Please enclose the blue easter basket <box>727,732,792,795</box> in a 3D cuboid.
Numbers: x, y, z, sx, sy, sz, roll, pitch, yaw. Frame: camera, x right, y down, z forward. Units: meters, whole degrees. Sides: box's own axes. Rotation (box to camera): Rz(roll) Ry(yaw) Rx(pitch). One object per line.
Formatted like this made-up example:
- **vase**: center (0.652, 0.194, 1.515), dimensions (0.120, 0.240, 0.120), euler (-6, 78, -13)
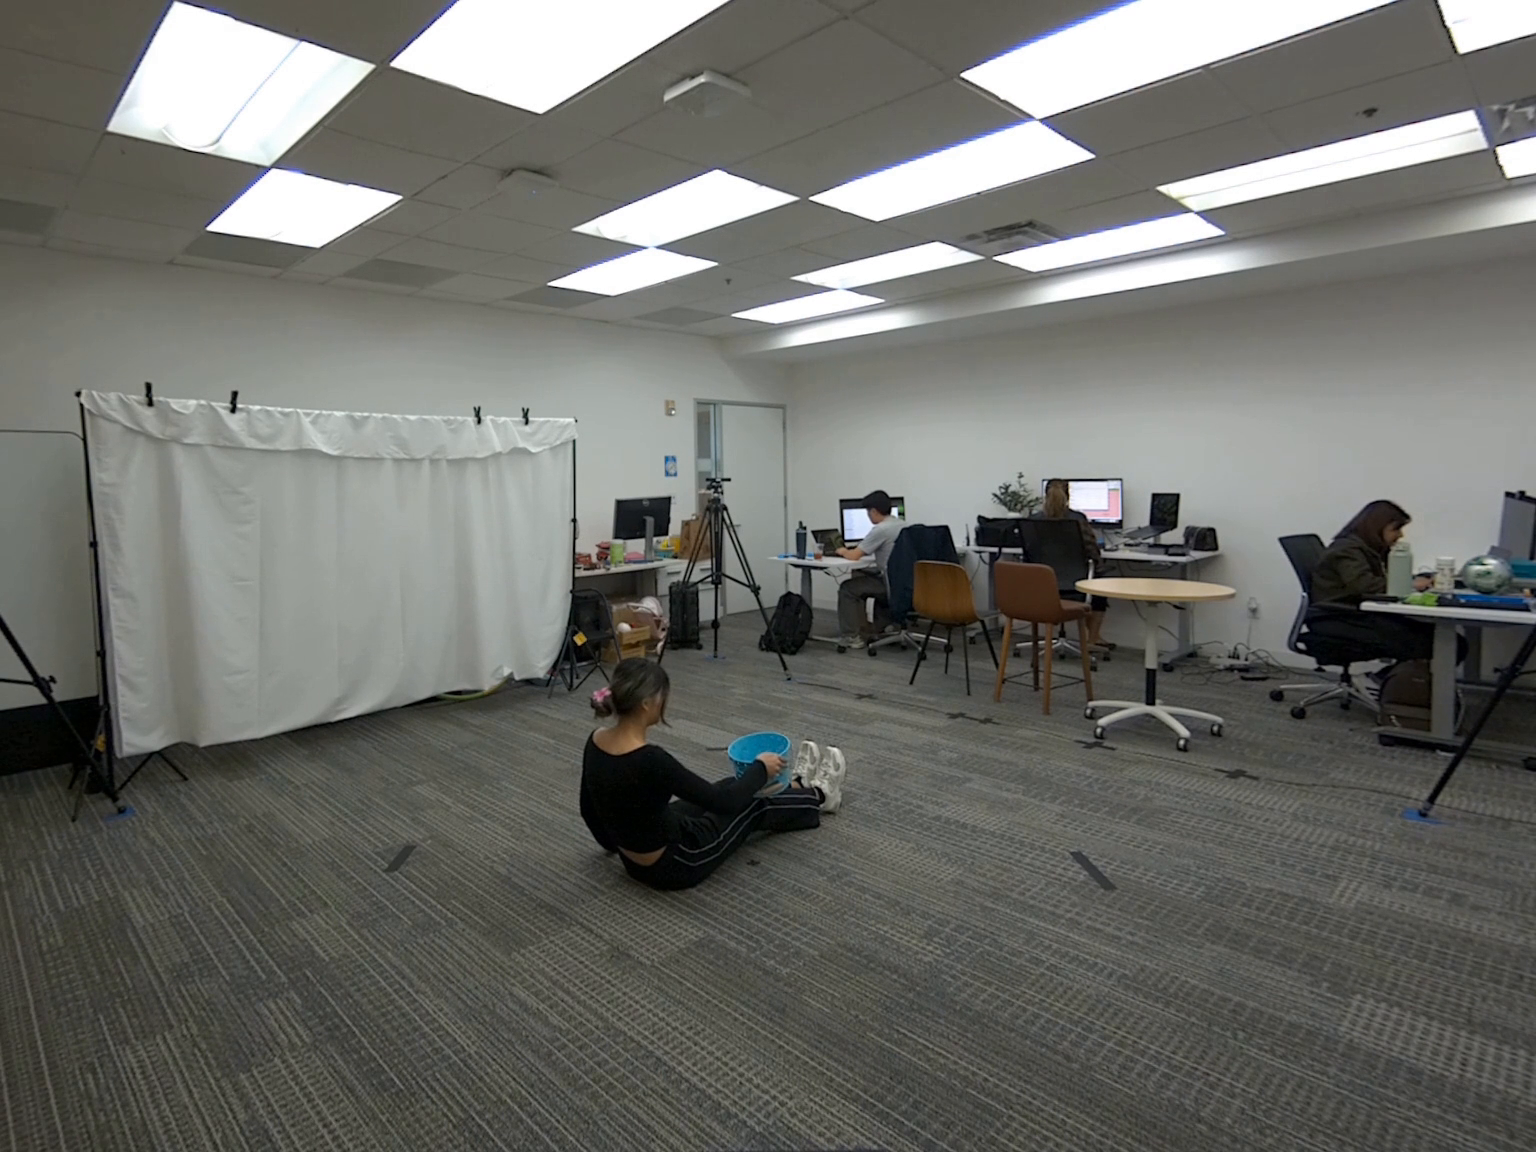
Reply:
- **blue easter basket**: center (-0.026, 0.703, 3.134), dimensions (0.244, 0.154, 0.246), euler (-9, 13, 0)
